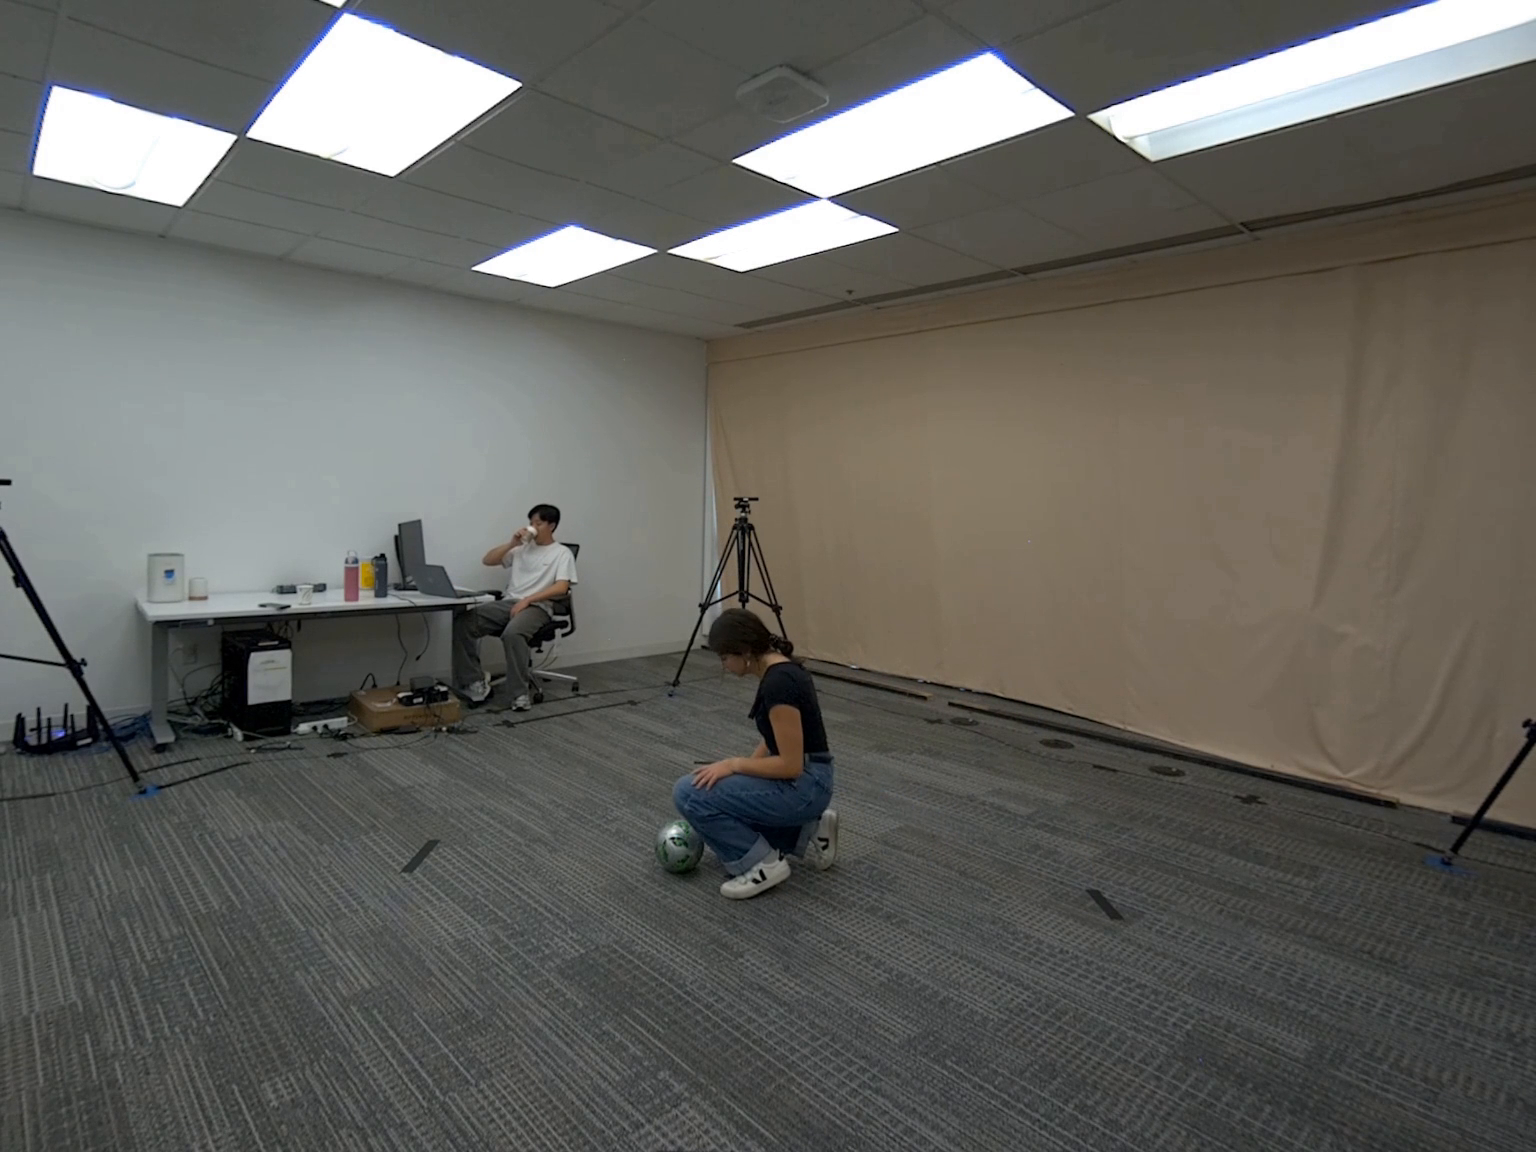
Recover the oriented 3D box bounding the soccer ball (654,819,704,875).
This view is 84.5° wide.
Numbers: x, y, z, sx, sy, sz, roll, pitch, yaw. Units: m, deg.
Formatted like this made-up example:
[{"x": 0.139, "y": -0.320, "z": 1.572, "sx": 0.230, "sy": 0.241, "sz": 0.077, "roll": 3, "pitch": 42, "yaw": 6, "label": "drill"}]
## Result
[{"x": -0.335, "y": 0.999, "z": 3.145, "sx": 0.187, "sy": 0.187, "sz": 0.188, "roll": 1, "pitch": 4, "yaw": -1, "label": "soccer ball"}]
